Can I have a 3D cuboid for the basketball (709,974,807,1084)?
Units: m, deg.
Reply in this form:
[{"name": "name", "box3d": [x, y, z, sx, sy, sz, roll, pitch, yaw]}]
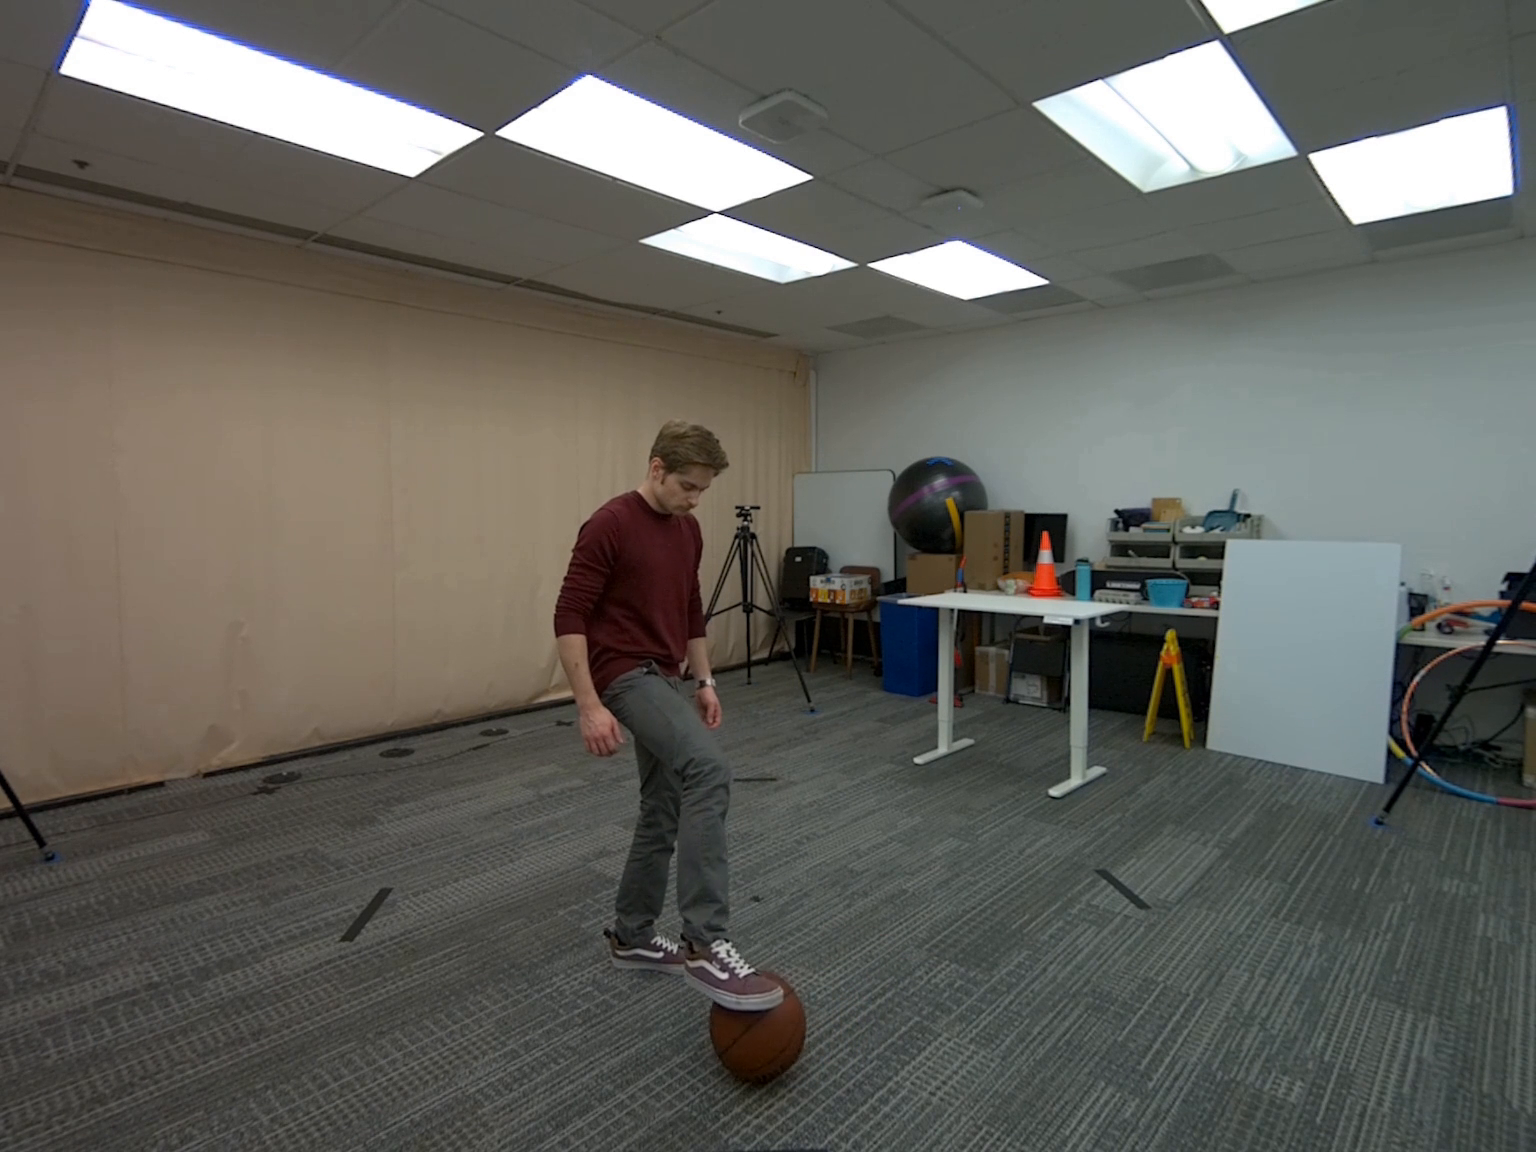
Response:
[{"name": "basketball", "box3d": [-0.019, 1.104, 2.069, 0.236, 0.235, 0.237, 0, 4, -2]}]
